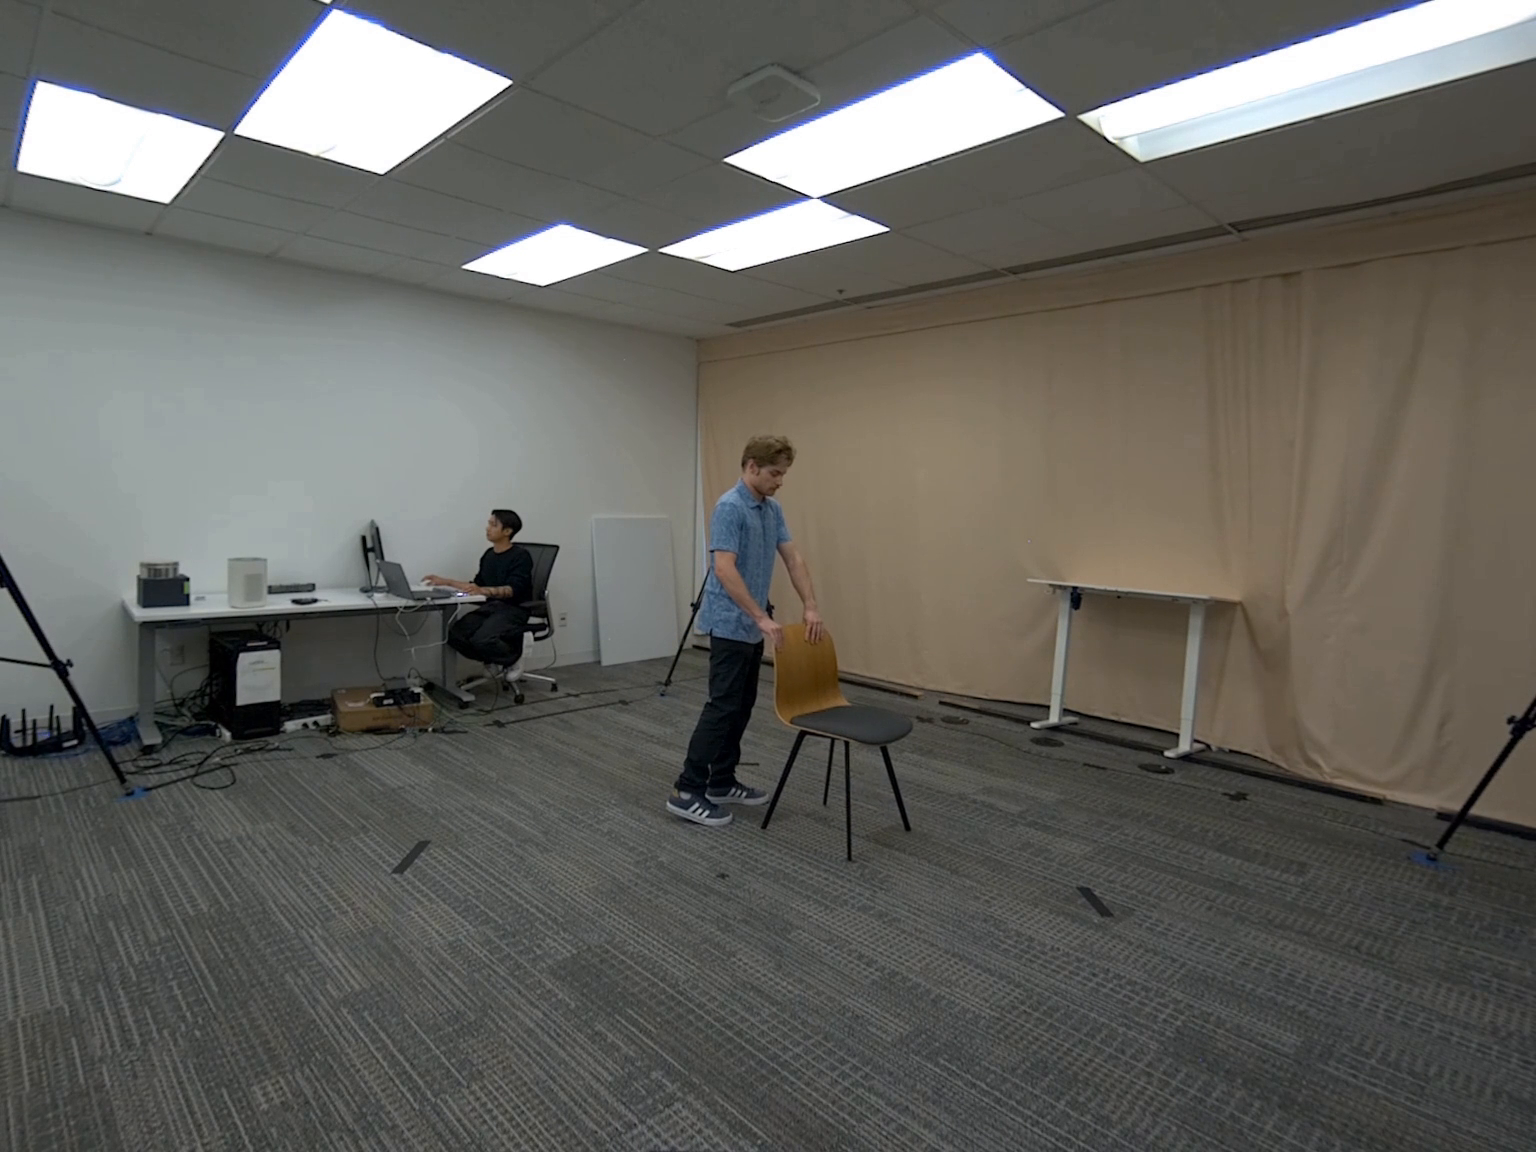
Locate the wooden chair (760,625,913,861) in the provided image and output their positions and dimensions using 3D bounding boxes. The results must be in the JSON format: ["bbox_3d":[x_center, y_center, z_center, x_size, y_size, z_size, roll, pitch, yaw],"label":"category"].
[{"bbox_3d":[0.297,0.650,3.532,0.535,0.878,0.467,-2,0,41],"label":"wooden chair"}]
